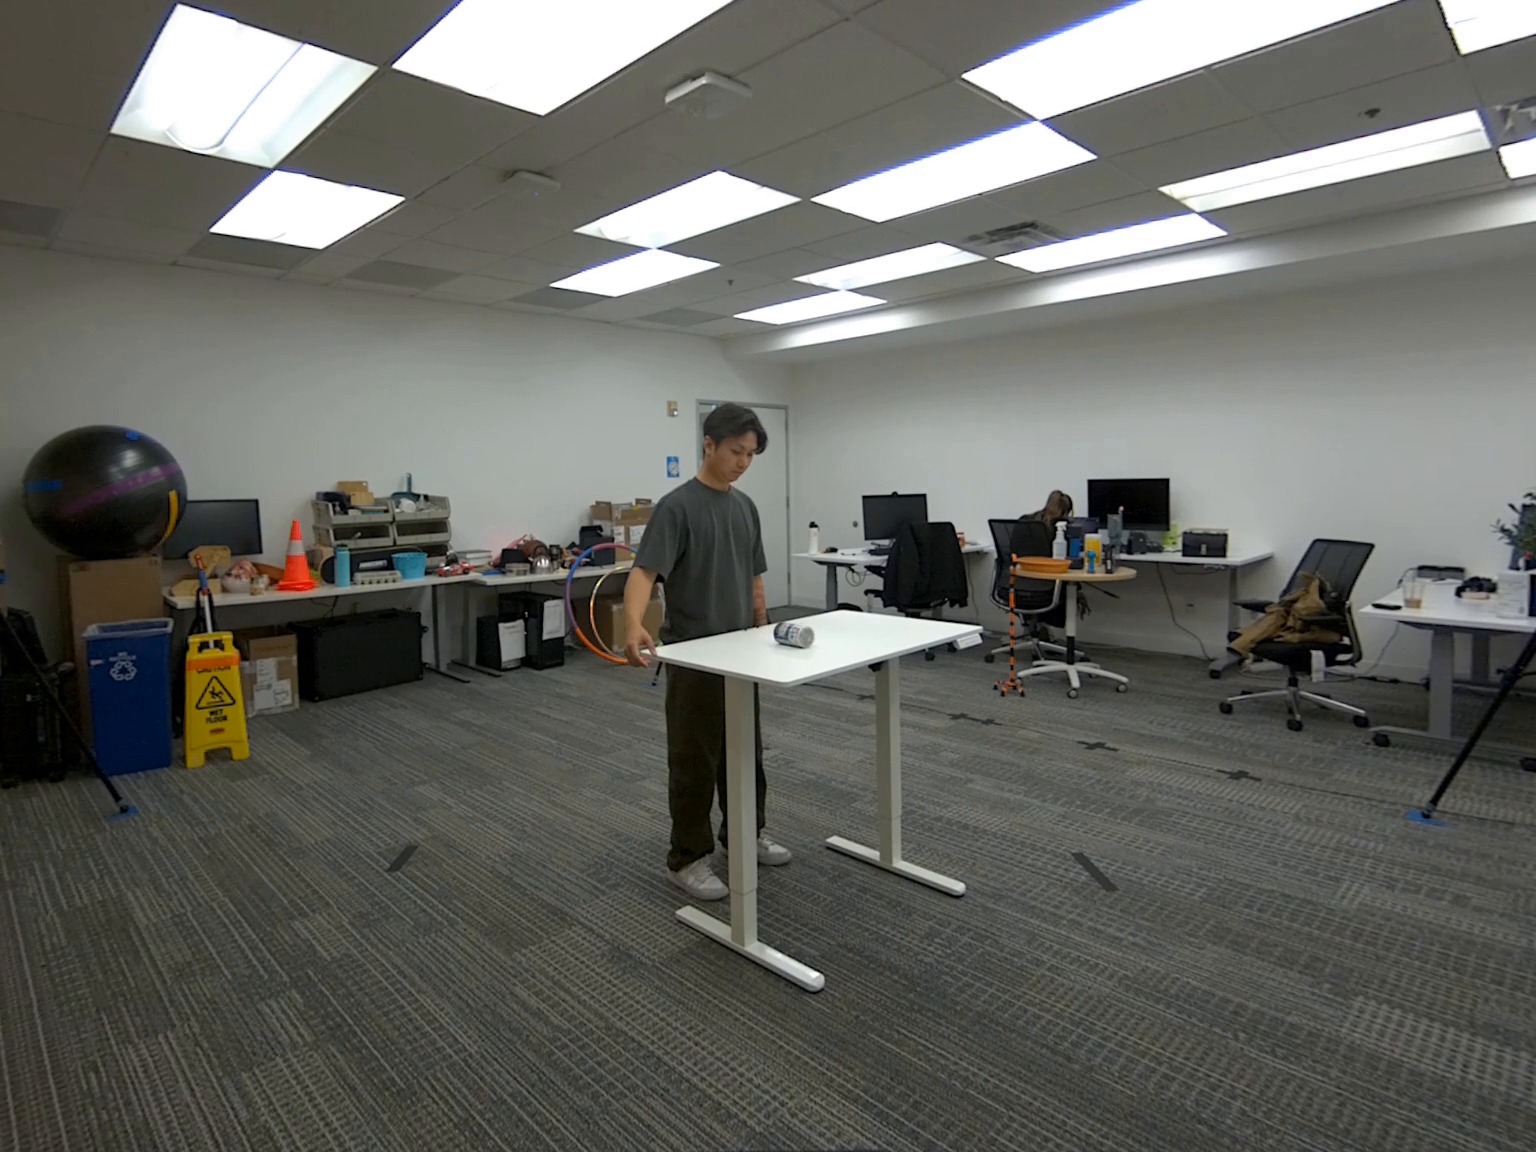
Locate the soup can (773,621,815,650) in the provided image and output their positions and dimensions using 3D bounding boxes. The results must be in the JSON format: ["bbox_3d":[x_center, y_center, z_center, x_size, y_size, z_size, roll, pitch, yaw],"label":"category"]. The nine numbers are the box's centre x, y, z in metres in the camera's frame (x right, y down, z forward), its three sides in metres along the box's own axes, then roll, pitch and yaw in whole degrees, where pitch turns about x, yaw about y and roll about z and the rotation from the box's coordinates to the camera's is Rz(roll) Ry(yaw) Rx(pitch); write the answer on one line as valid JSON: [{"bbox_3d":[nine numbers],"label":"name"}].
[{"bbox_3d":[0.074,0.184,2.632,0.065,0.067,0.125,-5,6,-40],"label":"soup can"}]
